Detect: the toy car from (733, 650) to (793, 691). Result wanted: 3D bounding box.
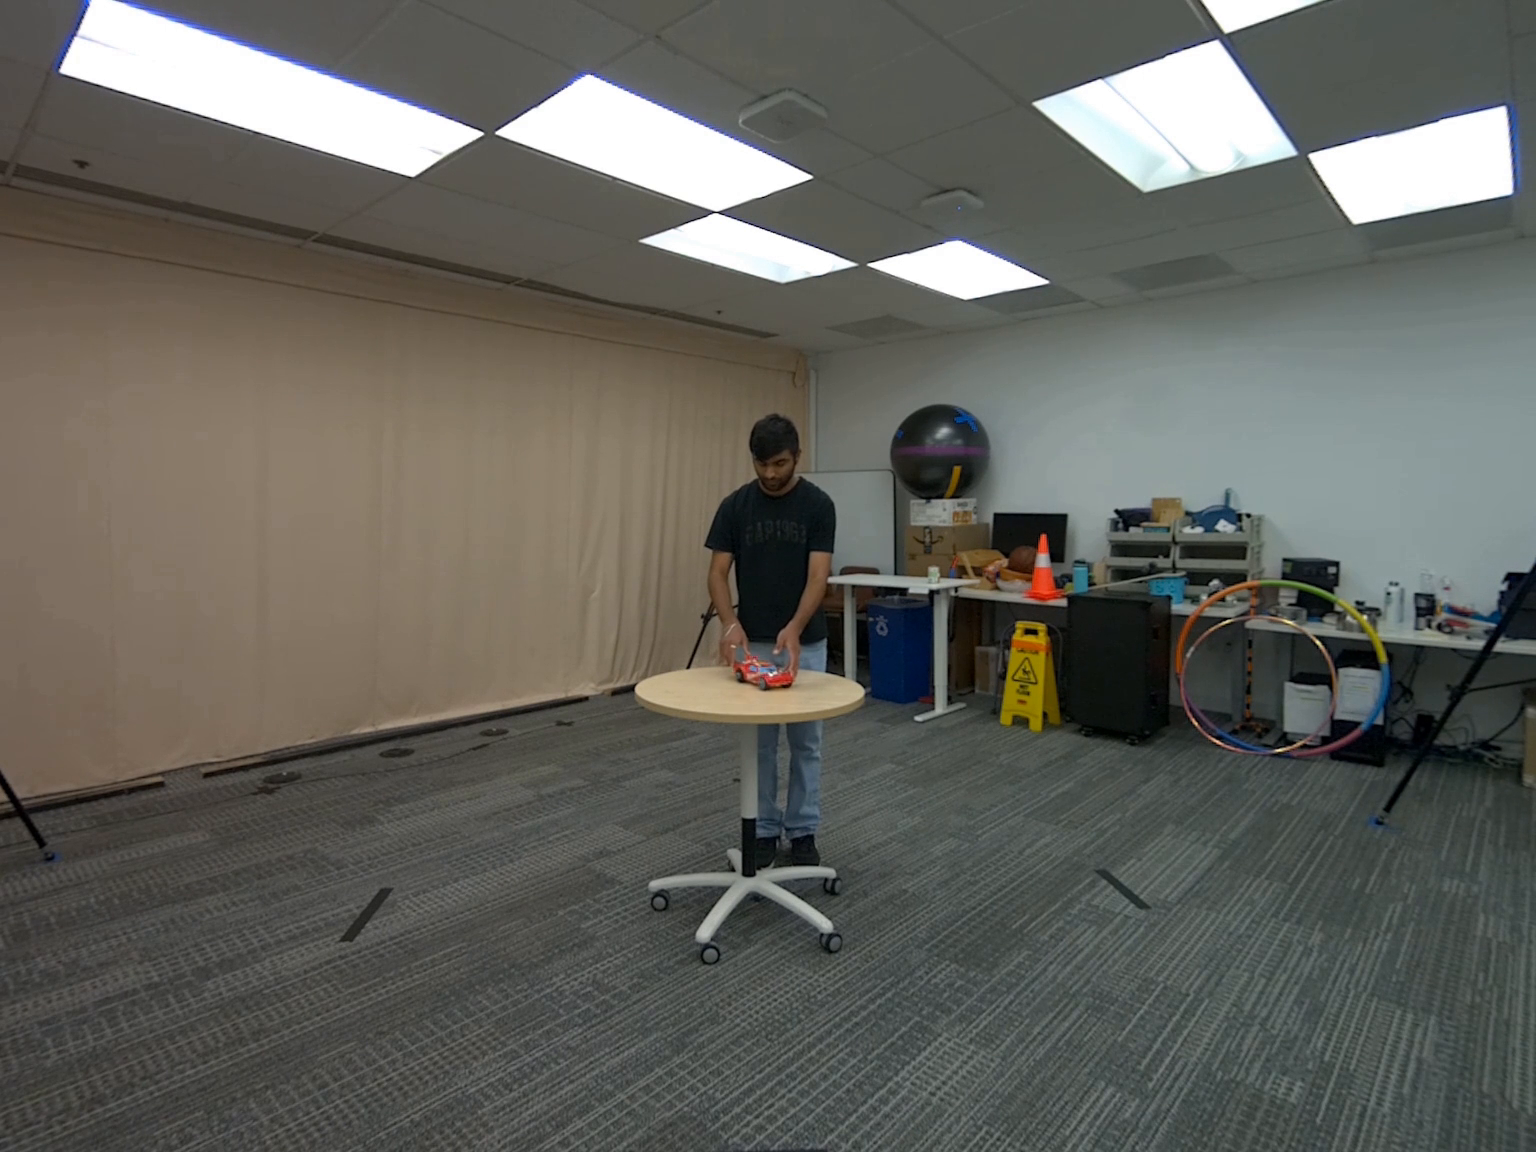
[{"bbox_3d":[-0.025,0.337,2.889,0.127,0.082,0.263,-2,16,-30],"label":"toy car"}]
